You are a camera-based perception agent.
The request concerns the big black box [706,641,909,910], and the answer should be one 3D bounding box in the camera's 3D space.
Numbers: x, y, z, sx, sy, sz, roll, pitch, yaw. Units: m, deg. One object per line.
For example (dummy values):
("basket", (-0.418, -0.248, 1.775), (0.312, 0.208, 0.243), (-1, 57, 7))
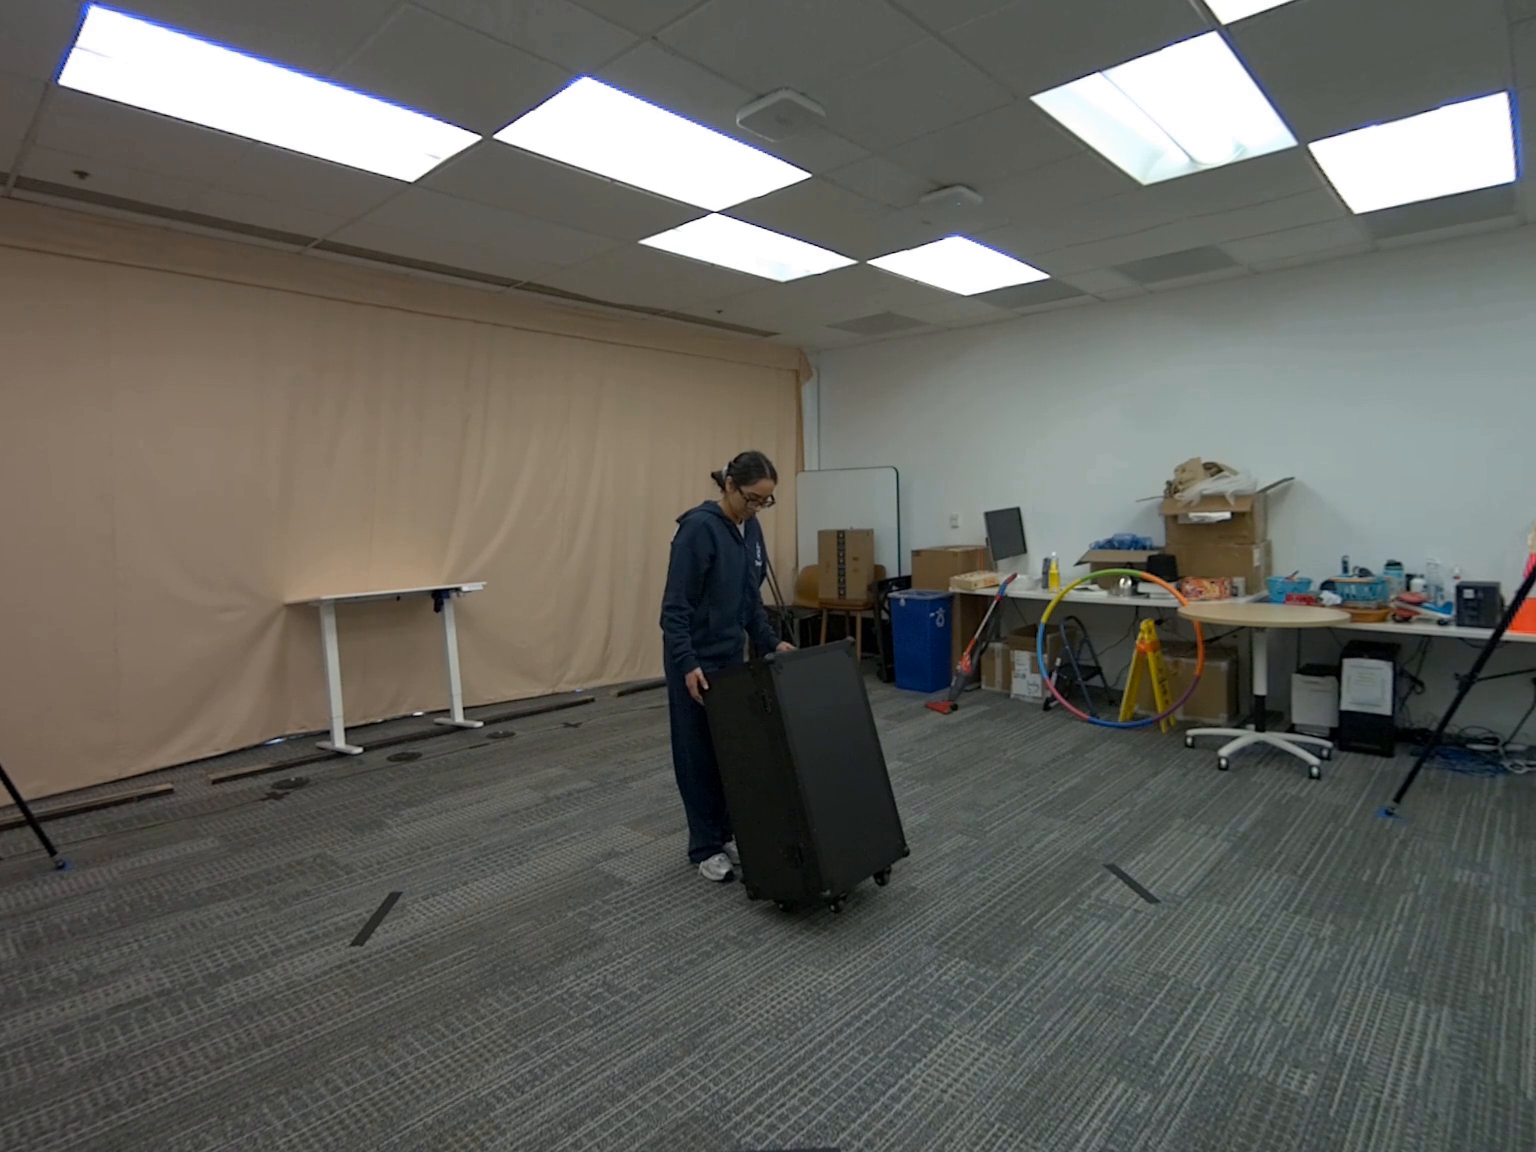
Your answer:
("big black box", (0.128, 0.704, 2.975), (0.405, 0.868, 0.505), (-22, -11, 41))
